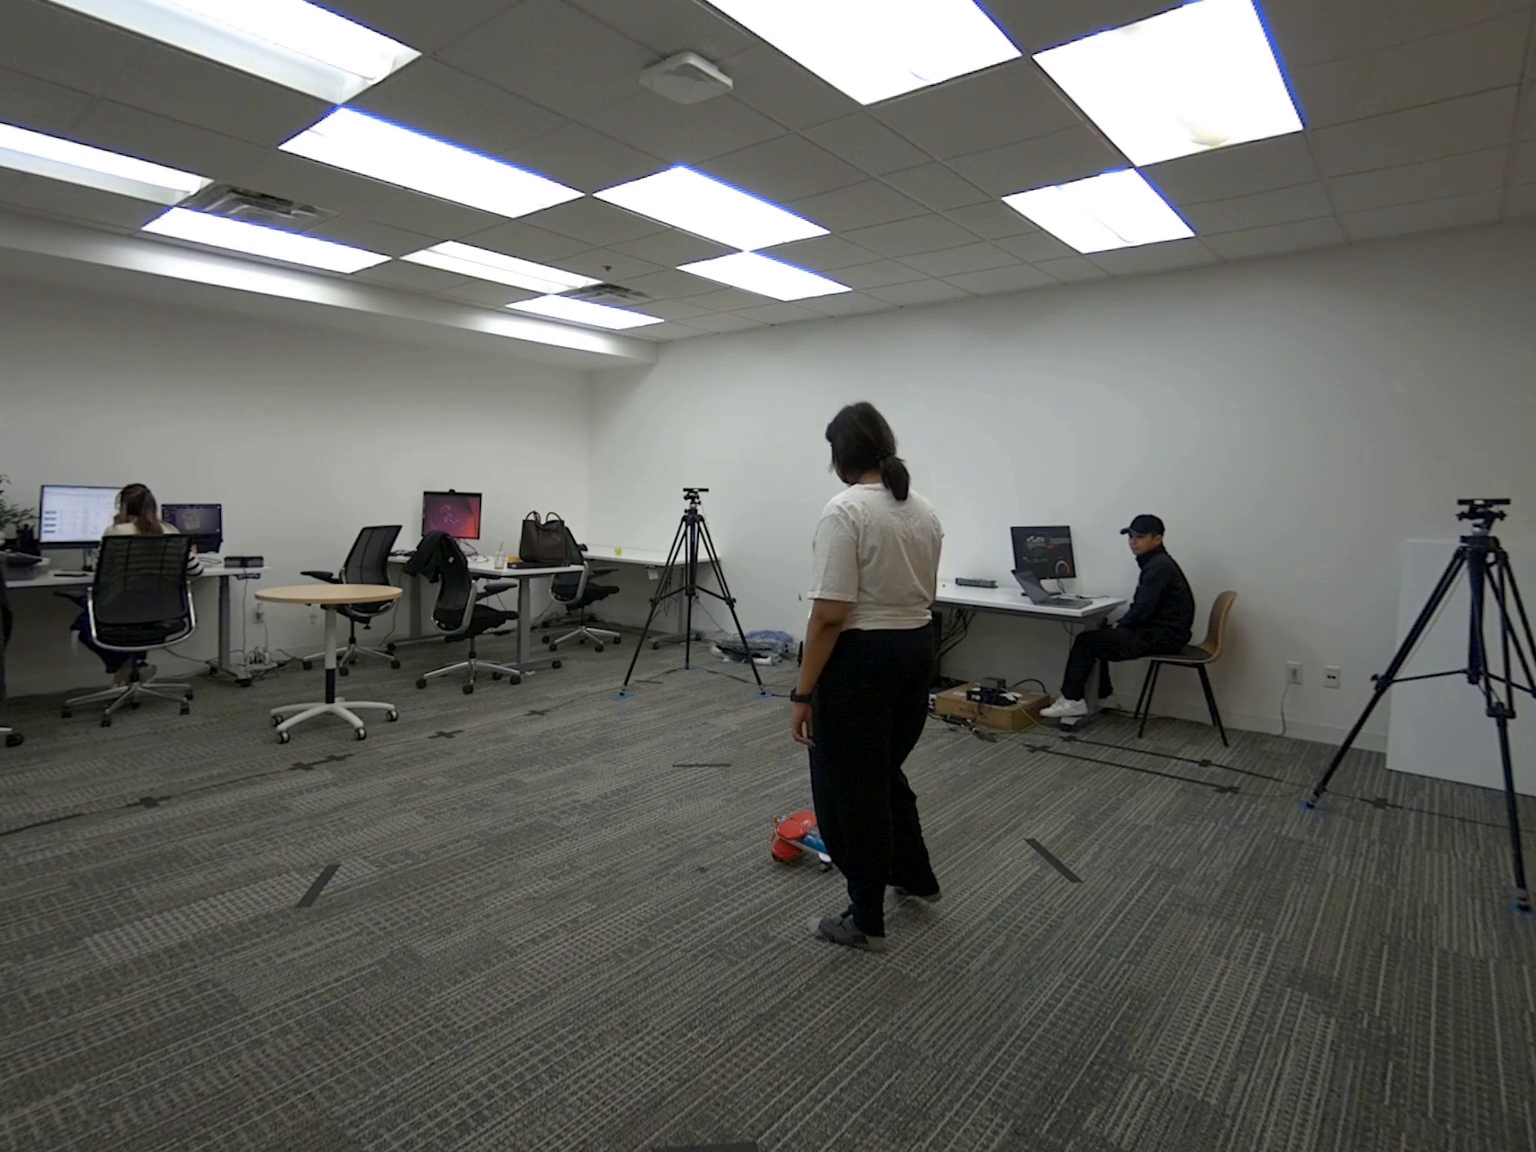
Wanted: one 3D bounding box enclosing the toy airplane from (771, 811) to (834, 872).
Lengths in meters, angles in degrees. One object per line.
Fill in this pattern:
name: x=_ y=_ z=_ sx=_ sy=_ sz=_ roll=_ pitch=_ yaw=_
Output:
toy airplane: x=0.135 y=0.990 z=3.204 sx=0.260 sy=0.156 sz=0.251 roll=1 pitch=4 yaw=3
